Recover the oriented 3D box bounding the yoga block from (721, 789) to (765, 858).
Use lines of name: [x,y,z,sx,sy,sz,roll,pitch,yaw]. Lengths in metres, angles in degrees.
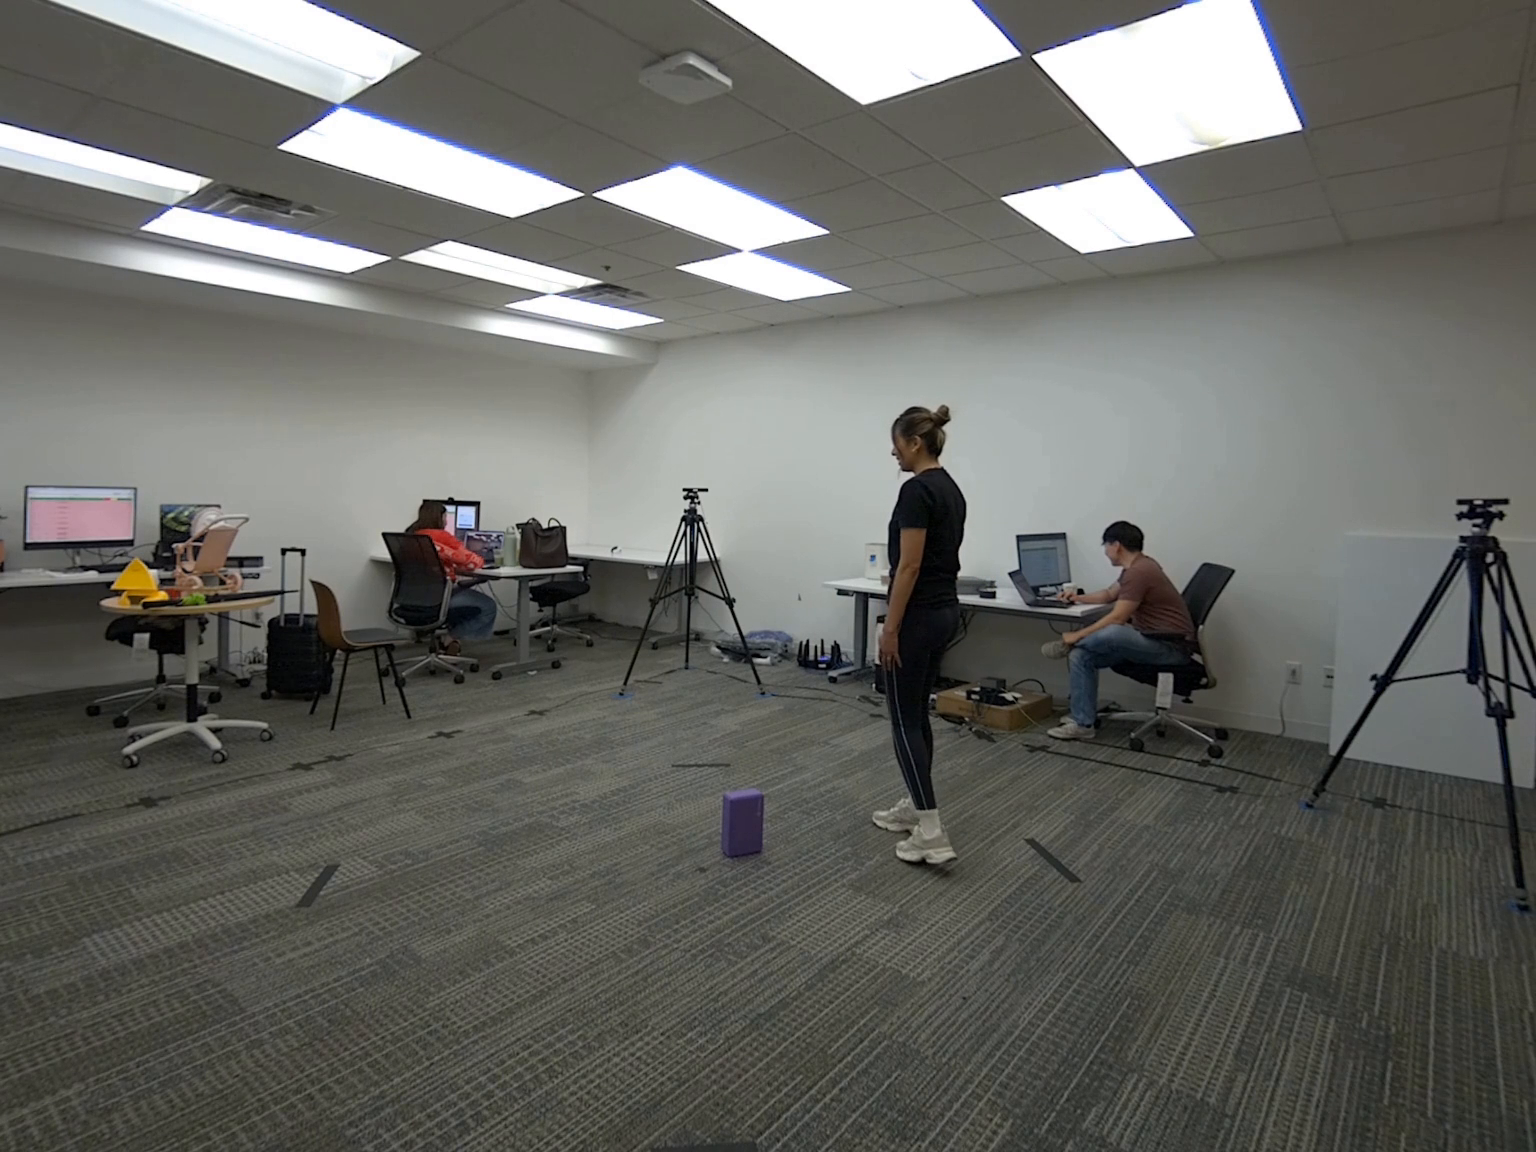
yoga block: [-0.105,0.940,3.265,0.145,0.229,0.079,-1,3,-29]
